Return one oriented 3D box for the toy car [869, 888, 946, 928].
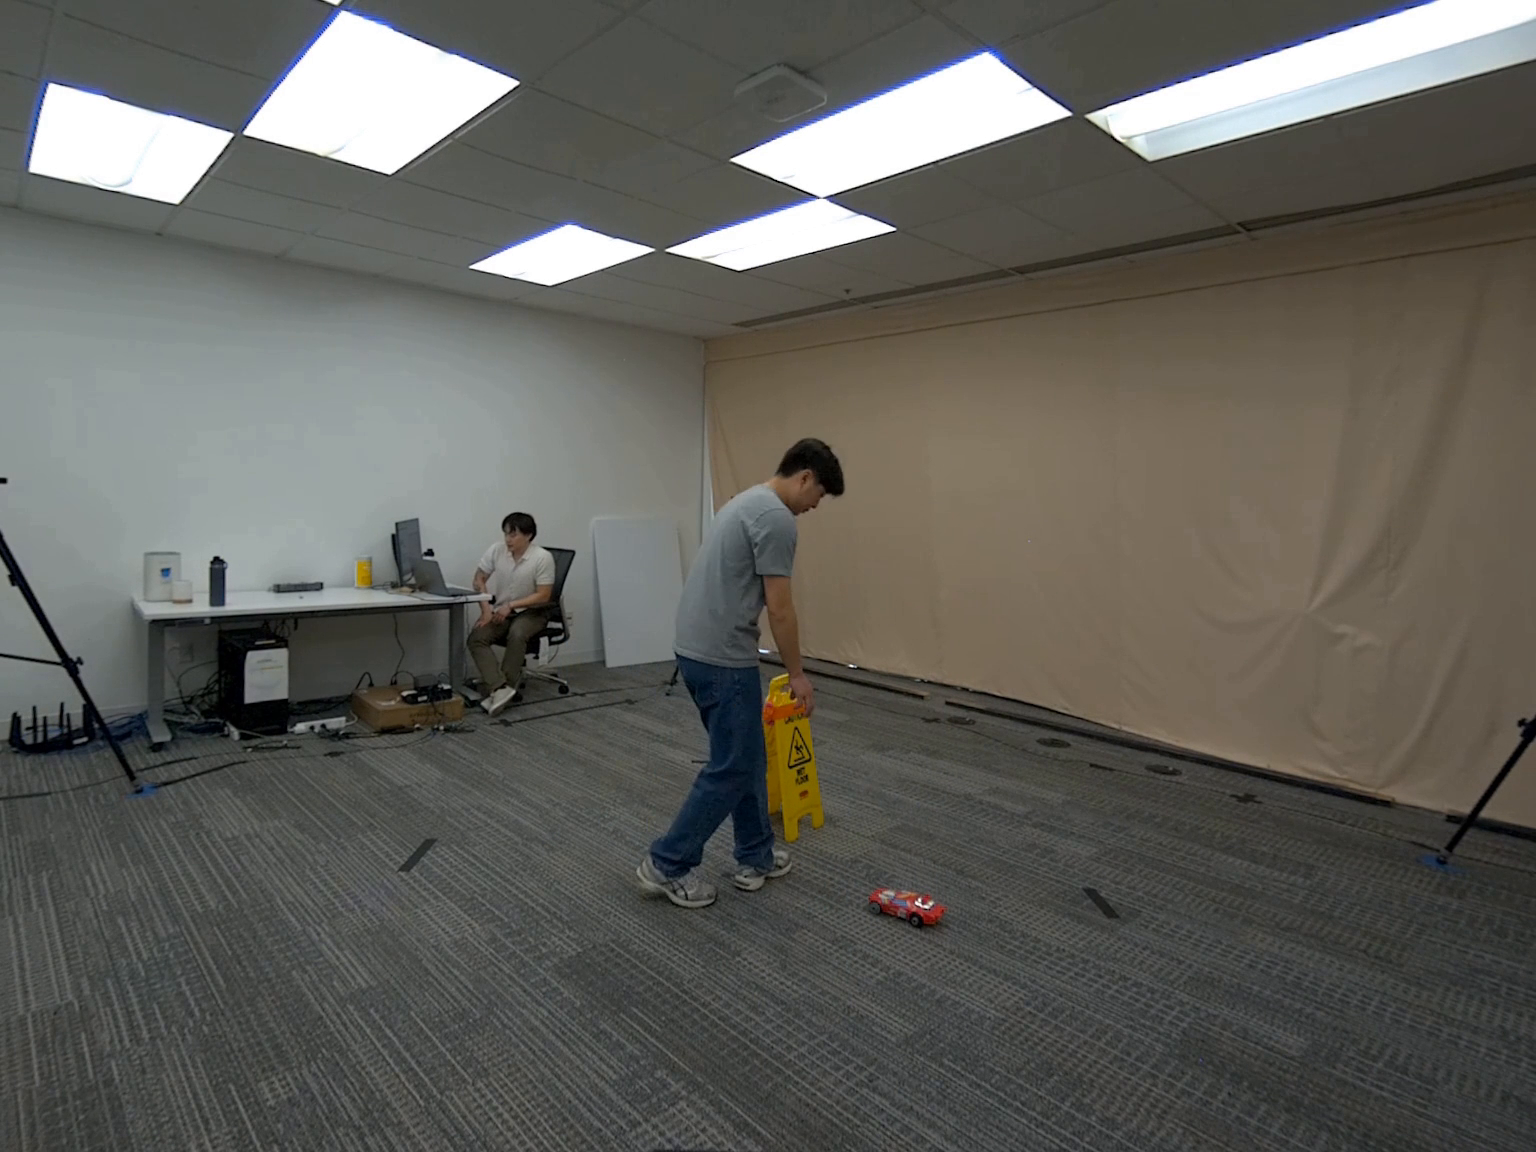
[{"bbox_3d":[0.466,1.116,2.823,0.259,0.083,0.127,-7,-2,35],"label":"toy car"}]
